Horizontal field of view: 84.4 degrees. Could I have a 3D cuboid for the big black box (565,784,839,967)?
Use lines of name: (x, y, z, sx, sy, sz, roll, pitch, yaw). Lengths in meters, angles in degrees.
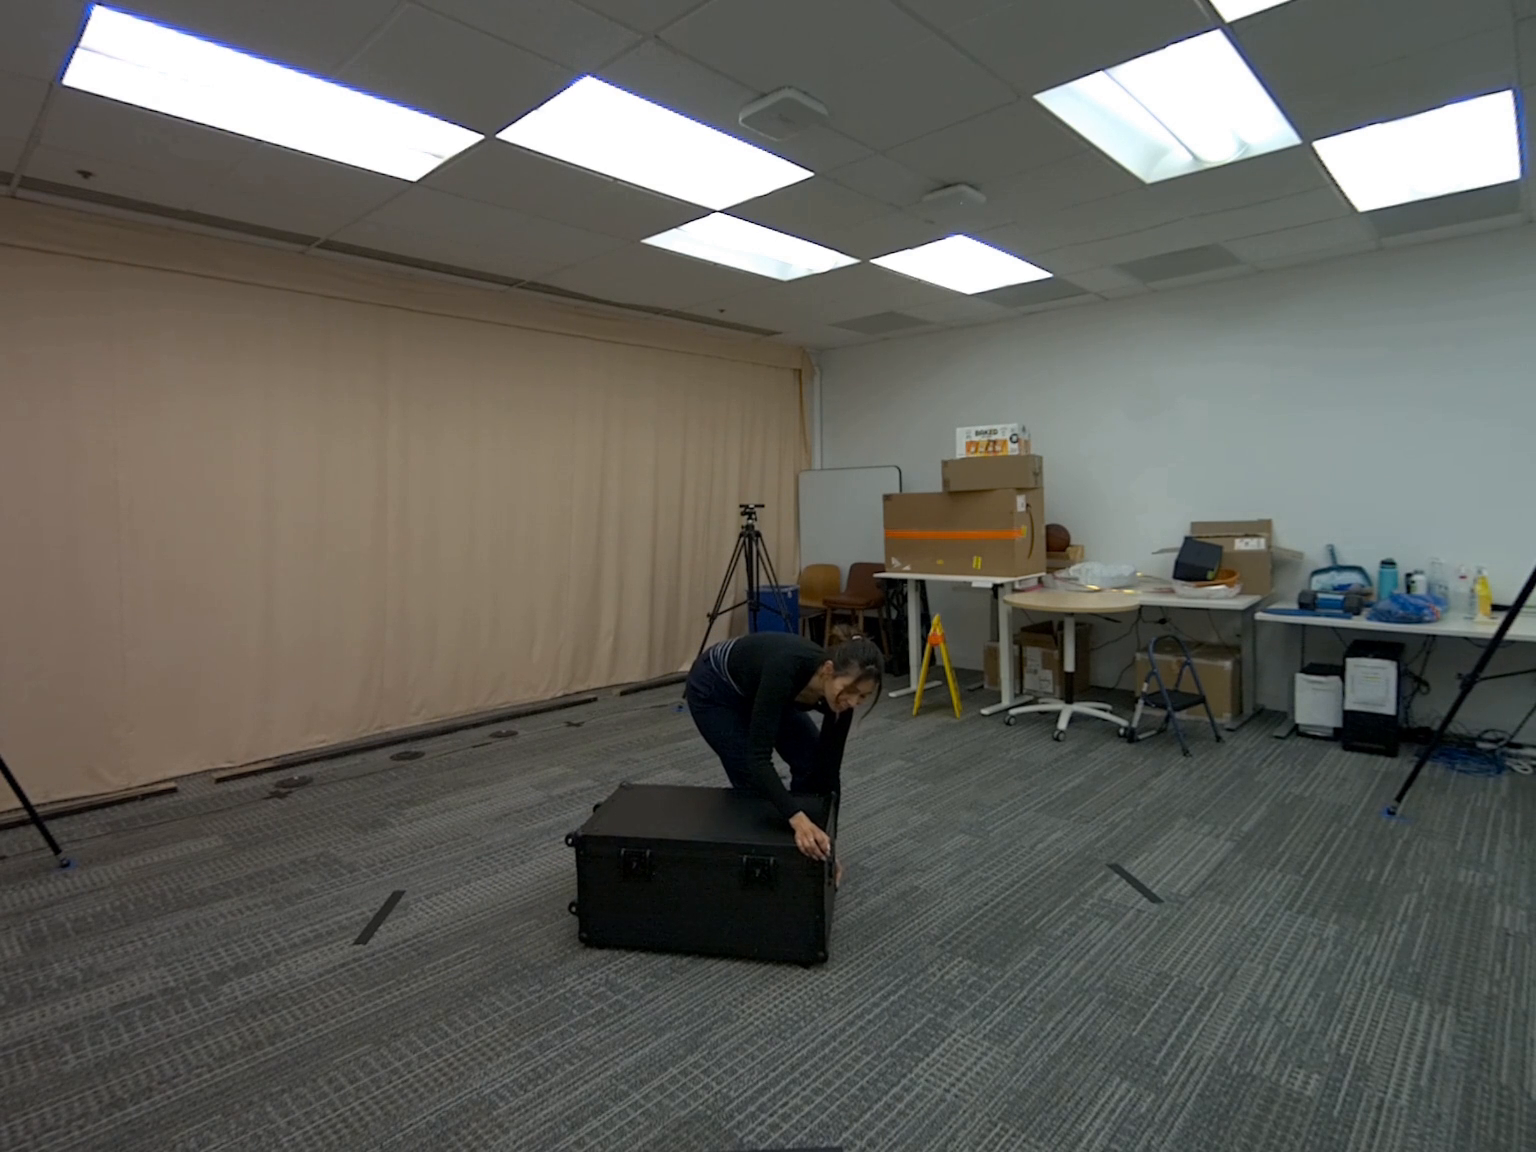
big black box: (-0.219, 0.958, 2.810, 0.872, 0.395, 0.516, 1, 5, 10)
